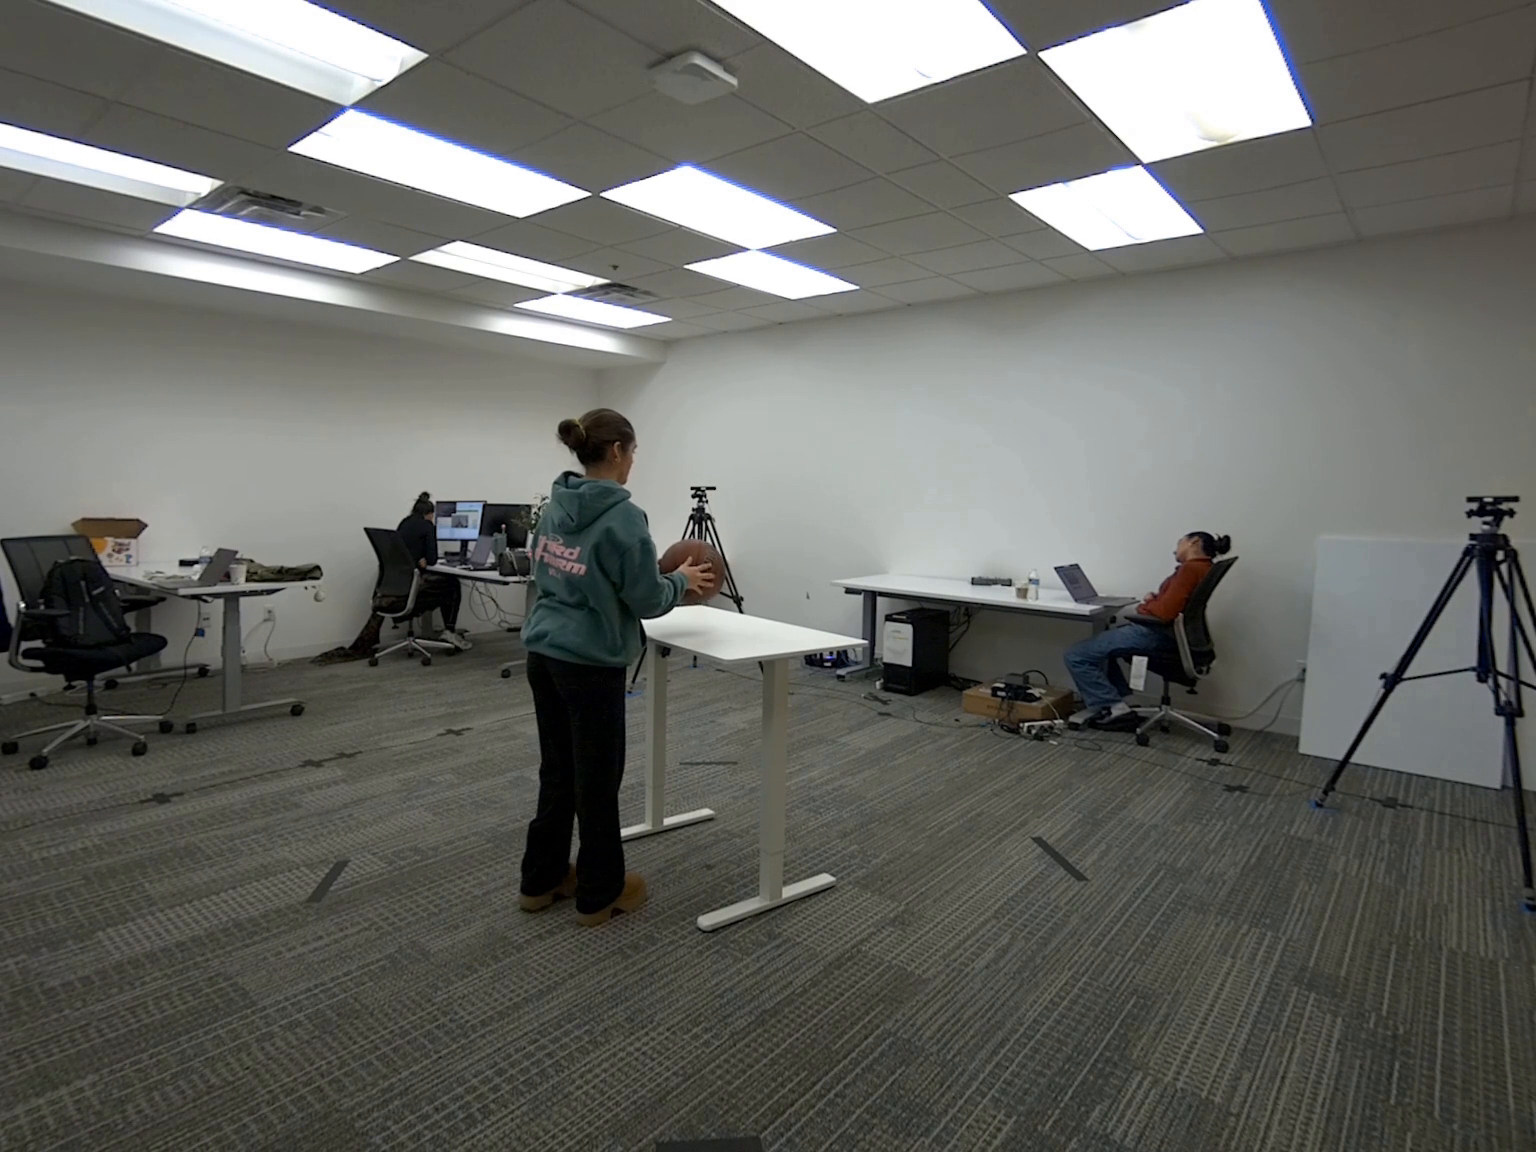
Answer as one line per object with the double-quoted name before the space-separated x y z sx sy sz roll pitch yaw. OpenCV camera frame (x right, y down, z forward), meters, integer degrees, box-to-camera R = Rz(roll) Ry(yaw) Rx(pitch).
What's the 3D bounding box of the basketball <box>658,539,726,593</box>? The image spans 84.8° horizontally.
"basketball" -0.284 -0.017 2.987 0.235 0.235 0.237 1 4 -2
